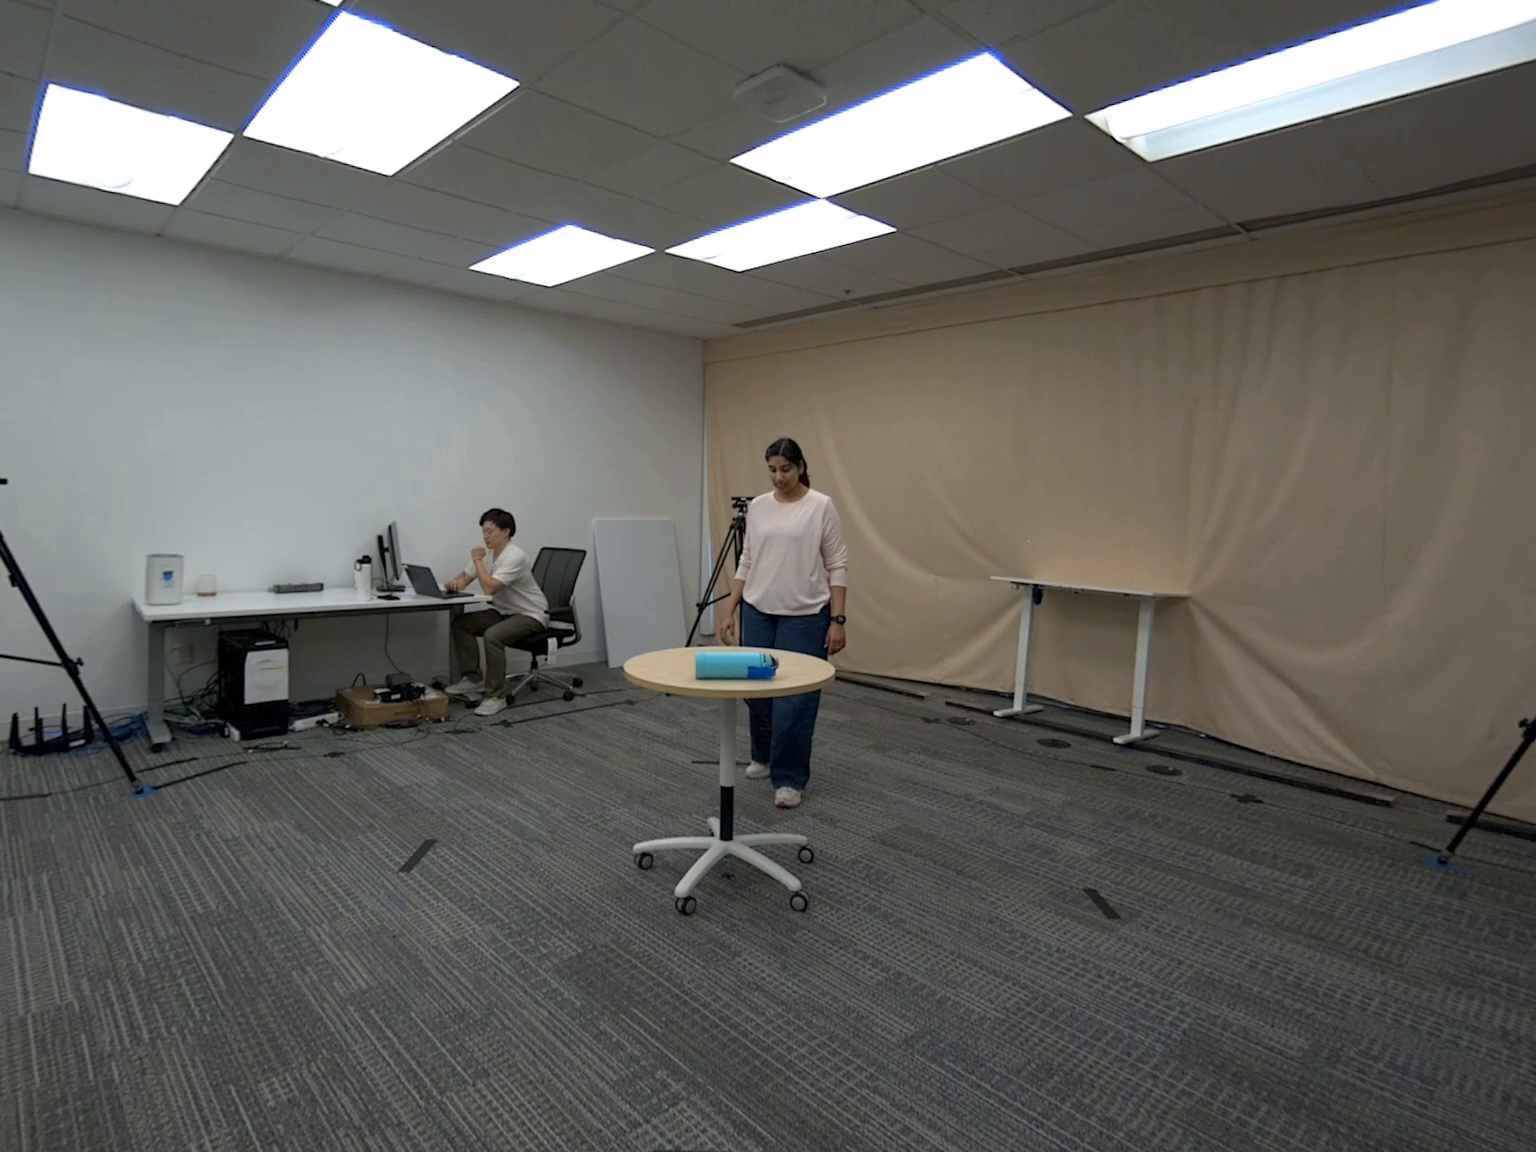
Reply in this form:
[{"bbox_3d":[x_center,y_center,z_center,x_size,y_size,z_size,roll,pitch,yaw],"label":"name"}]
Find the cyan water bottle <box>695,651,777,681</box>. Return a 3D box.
[{"bbox_3d":[-0.117,0.305,2.848,0.283,0.092,0.093,1,4,-2],"label":"cyan water bottle"}]
